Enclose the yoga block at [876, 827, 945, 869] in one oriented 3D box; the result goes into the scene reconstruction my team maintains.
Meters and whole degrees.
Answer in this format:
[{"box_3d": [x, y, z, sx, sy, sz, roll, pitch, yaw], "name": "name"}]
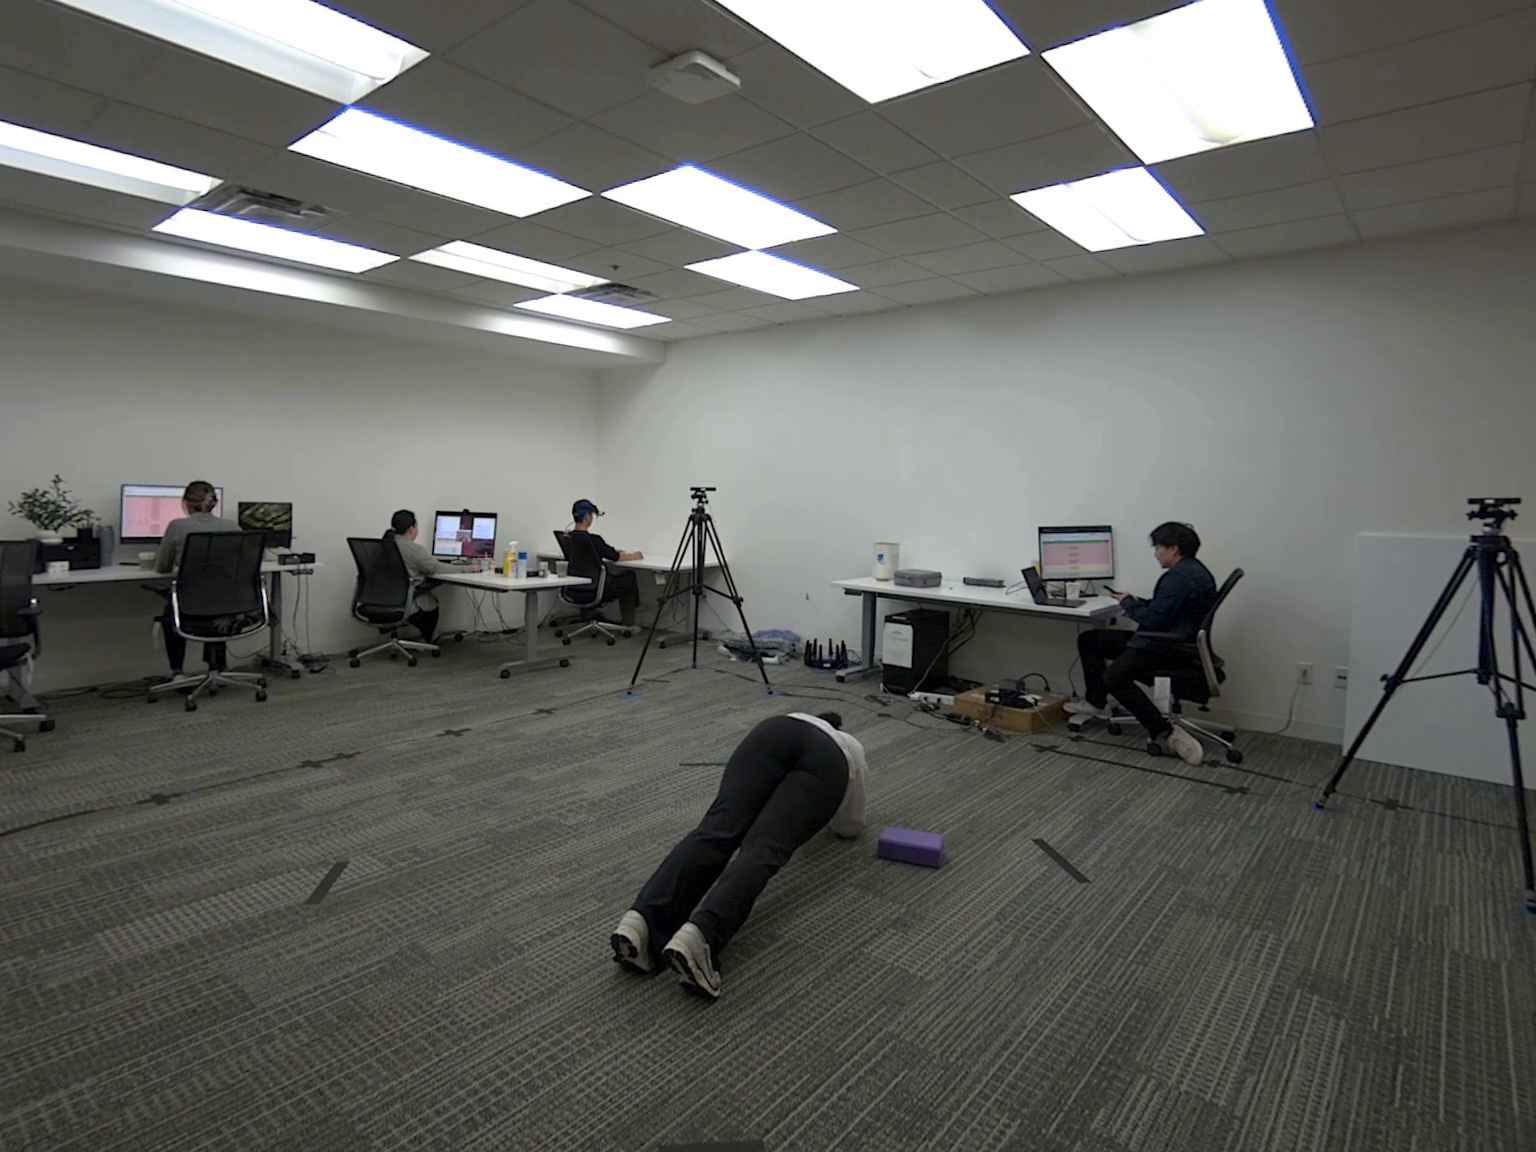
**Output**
[{"box_3d": [0.543, 1.033, 3.252, 0.234, 0.076, 0.146, 3, 5, 20], "name": "yoga block"}]
